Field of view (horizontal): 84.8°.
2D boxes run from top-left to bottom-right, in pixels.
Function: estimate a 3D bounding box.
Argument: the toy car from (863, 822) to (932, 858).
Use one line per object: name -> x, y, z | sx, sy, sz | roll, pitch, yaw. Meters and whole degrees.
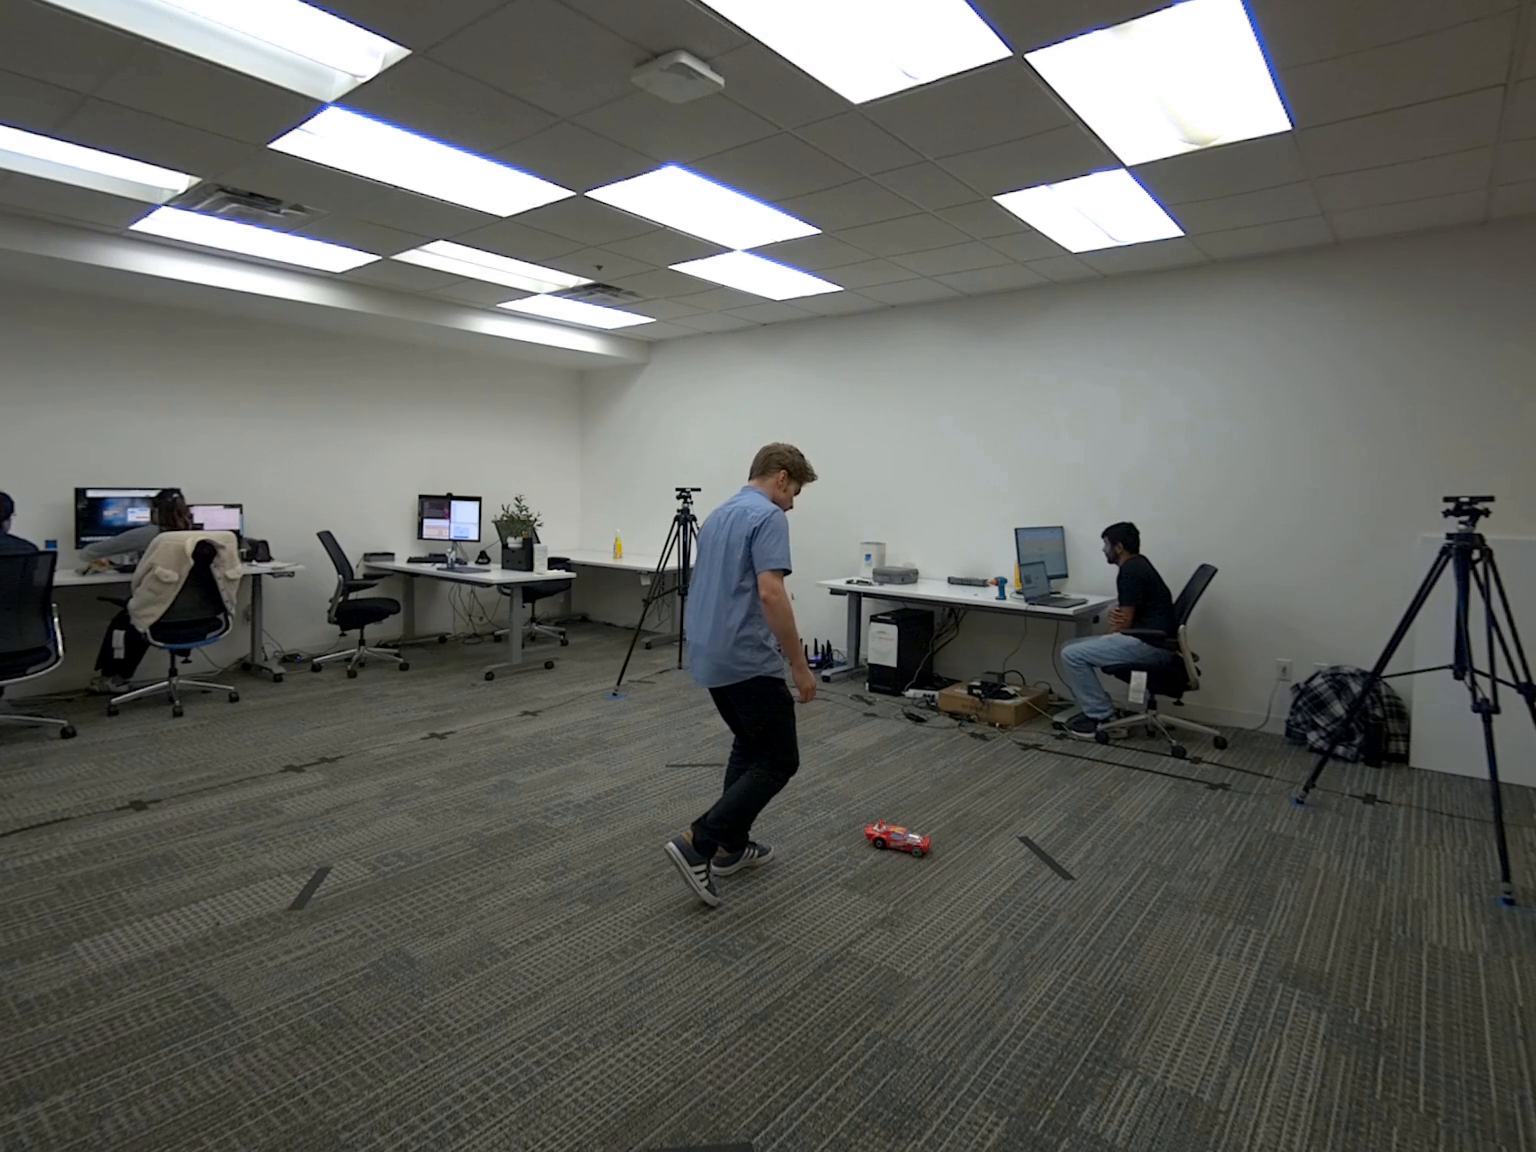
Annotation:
toy car -> 0.498, 1.029, 3.343 | 0.261, 0.083, 0.127 | 16, 9, 22
